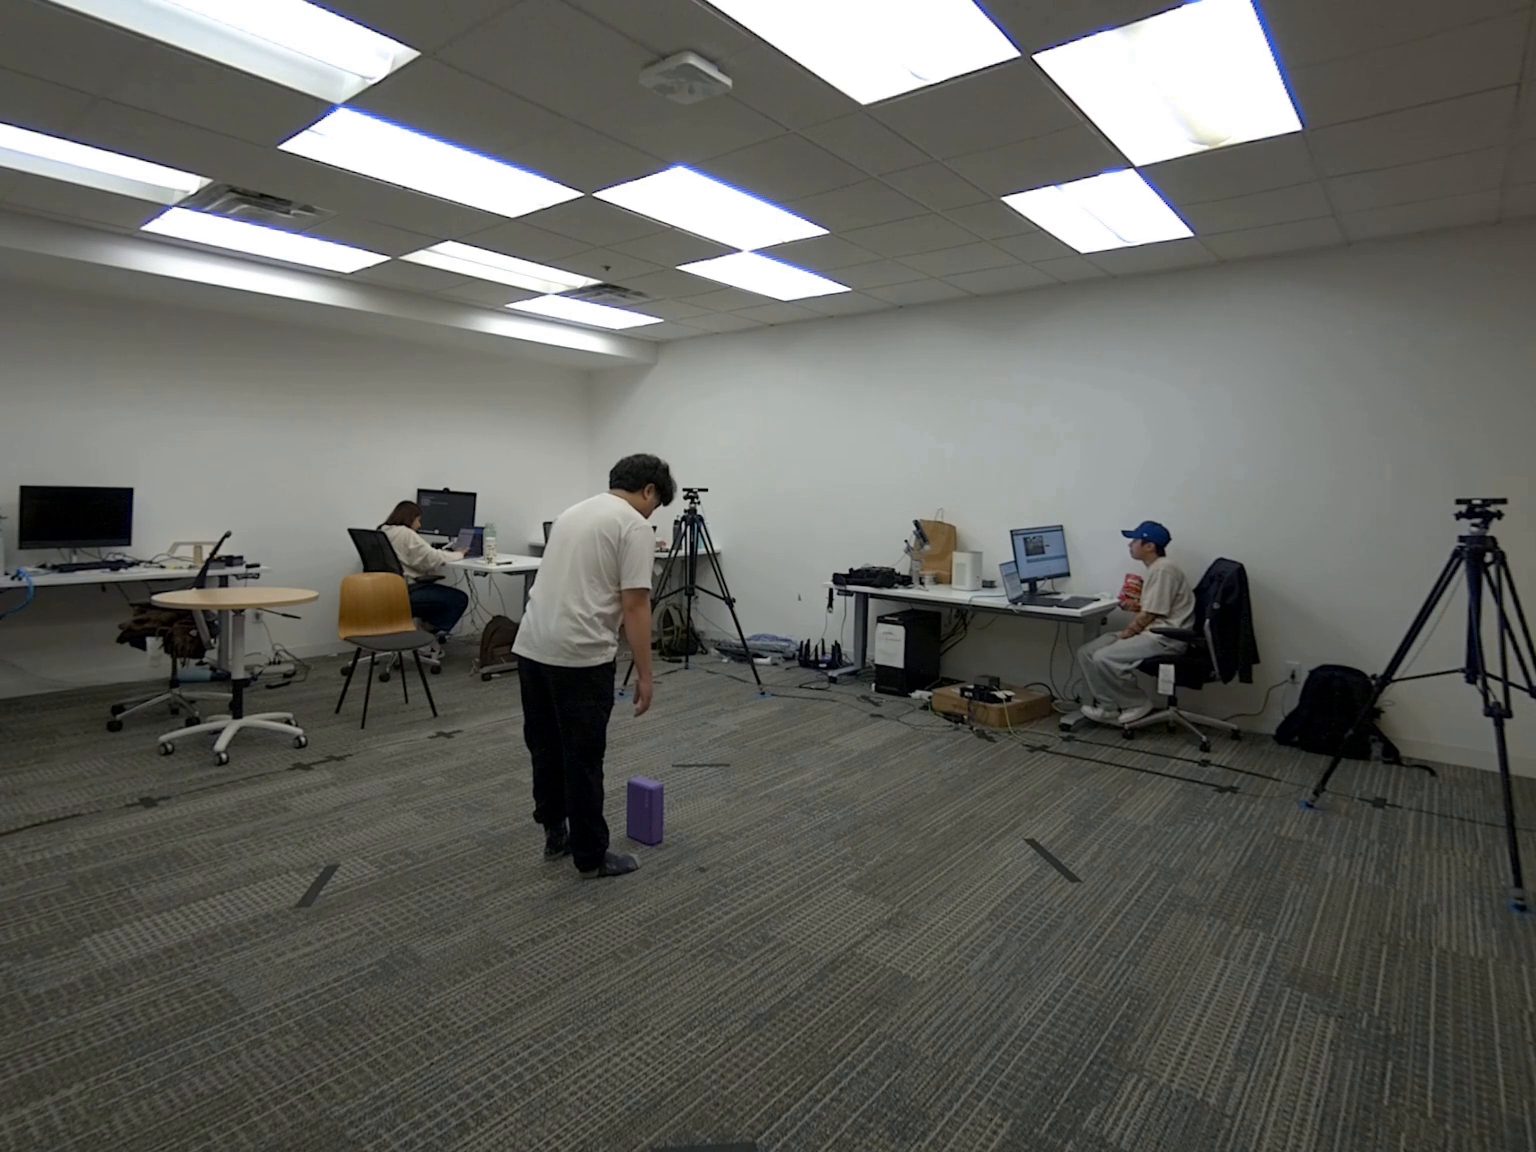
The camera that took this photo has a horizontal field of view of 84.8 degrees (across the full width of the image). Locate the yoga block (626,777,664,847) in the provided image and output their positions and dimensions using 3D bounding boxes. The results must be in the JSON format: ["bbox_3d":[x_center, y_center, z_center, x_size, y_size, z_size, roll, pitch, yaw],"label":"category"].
[{"bbox_3d":[-0.499,0.925,3.369,0.154,0.229,0.074,3,3,41],"label":"yoga block"}]
